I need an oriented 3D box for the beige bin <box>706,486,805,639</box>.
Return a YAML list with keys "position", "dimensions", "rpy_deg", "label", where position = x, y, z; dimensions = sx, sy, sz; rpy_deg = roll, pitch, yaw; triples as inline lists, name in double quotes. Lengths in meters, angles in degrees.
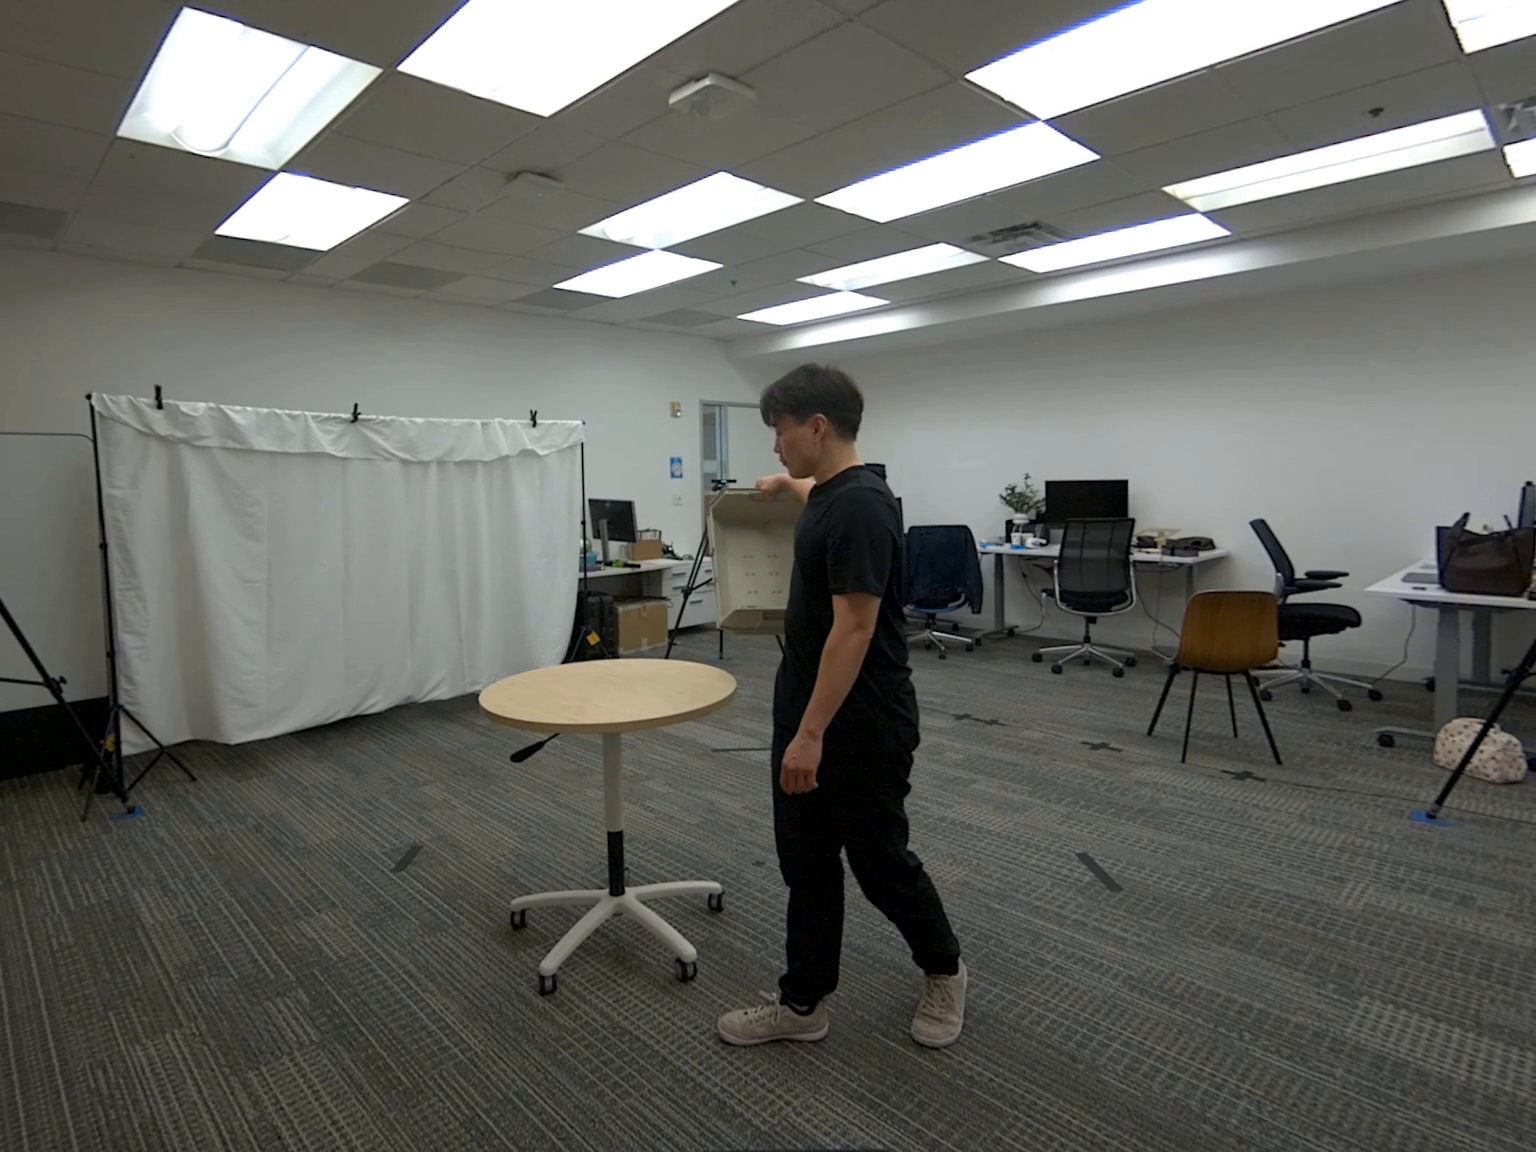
- position: [0.023, -0.045, 2.621]
  dimensions: [0.374, 0.434, 0.186]
  rpy_deg: [0, -32, -10]
  label: "beige bin"
